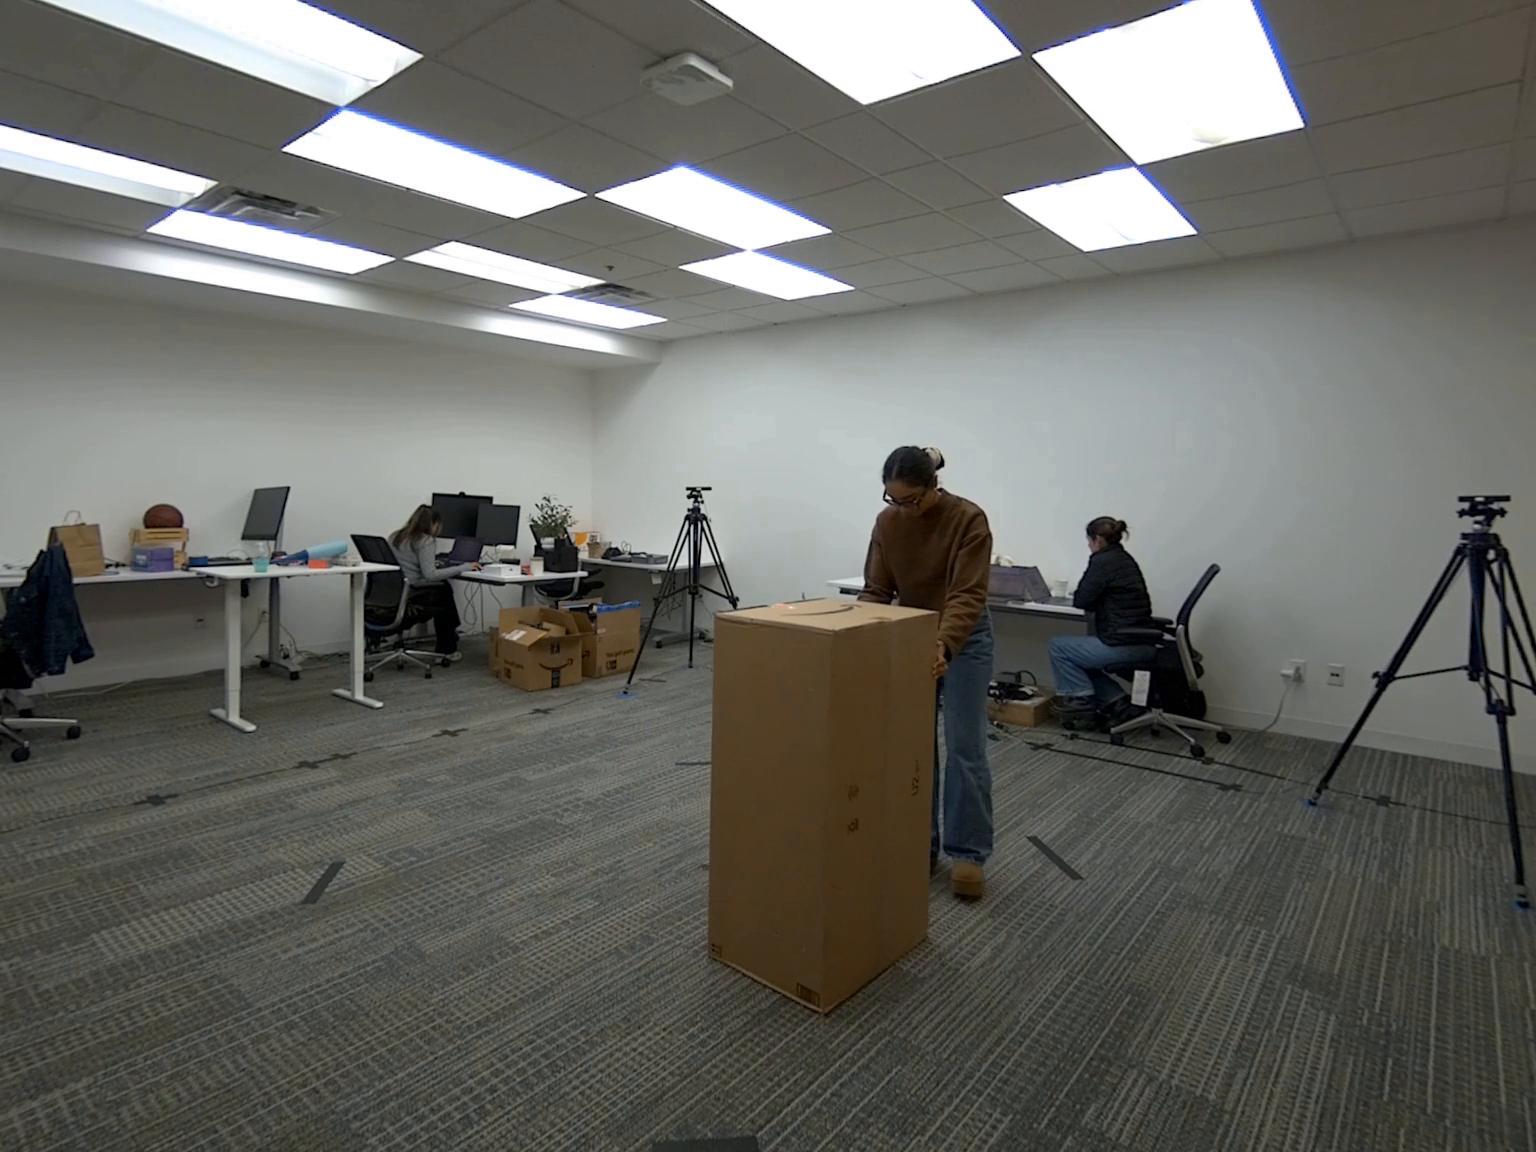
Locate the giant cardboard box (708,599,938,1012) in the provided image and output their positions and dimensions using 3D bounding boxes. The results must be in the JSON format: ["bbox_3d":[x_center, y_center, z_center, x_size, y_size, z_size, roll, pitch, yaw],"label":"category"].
[{"bbox_3d":[0.163,0.616,2.566,0.440,1.023,0.560,4,4,41],"label":"giant cardboard box"}]
